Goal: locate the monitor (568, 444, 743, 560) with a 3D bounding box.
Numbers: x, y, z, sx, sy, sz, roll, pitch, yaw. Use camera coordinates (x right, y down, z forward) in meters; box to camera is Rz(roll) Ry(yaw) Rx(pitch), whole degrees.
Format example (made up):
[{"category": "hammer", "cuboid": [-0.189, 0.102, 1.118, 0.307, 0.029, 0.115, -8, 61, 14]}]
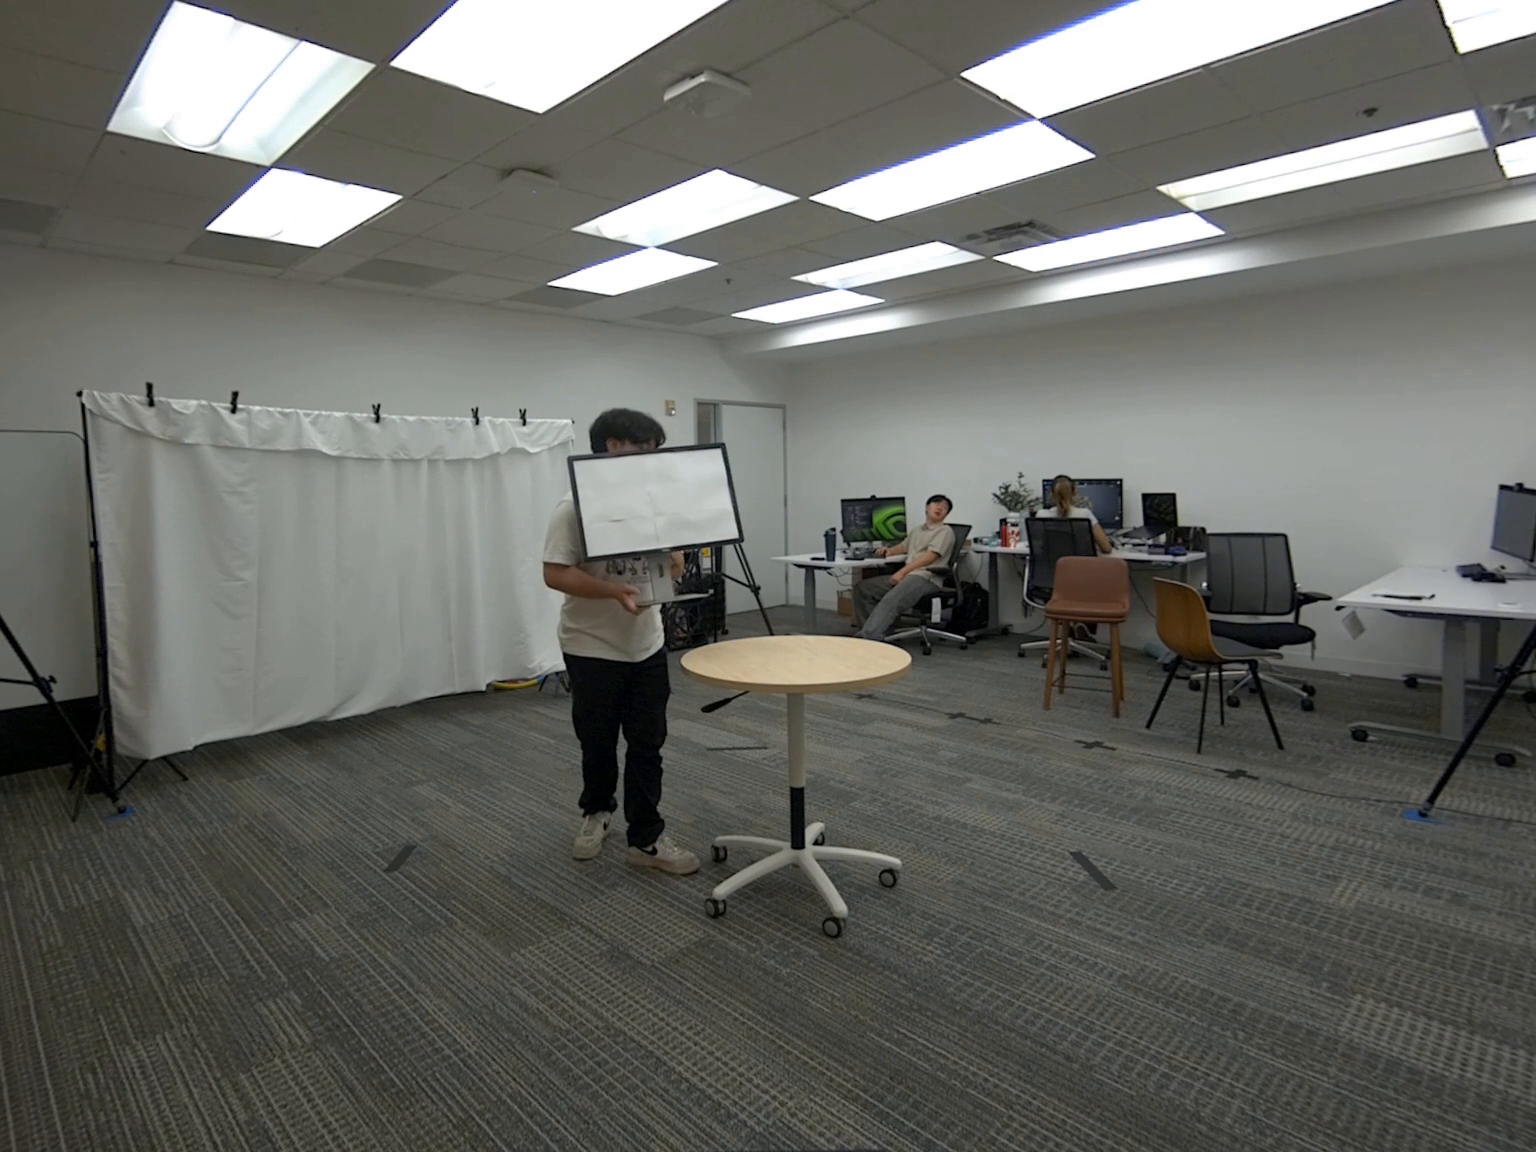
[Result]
[{"category": "monitor", "cuboid": [-0.388, -0.159, 2.946, 0.556, 0.557, 0.212, -8, -6, -19]}]
